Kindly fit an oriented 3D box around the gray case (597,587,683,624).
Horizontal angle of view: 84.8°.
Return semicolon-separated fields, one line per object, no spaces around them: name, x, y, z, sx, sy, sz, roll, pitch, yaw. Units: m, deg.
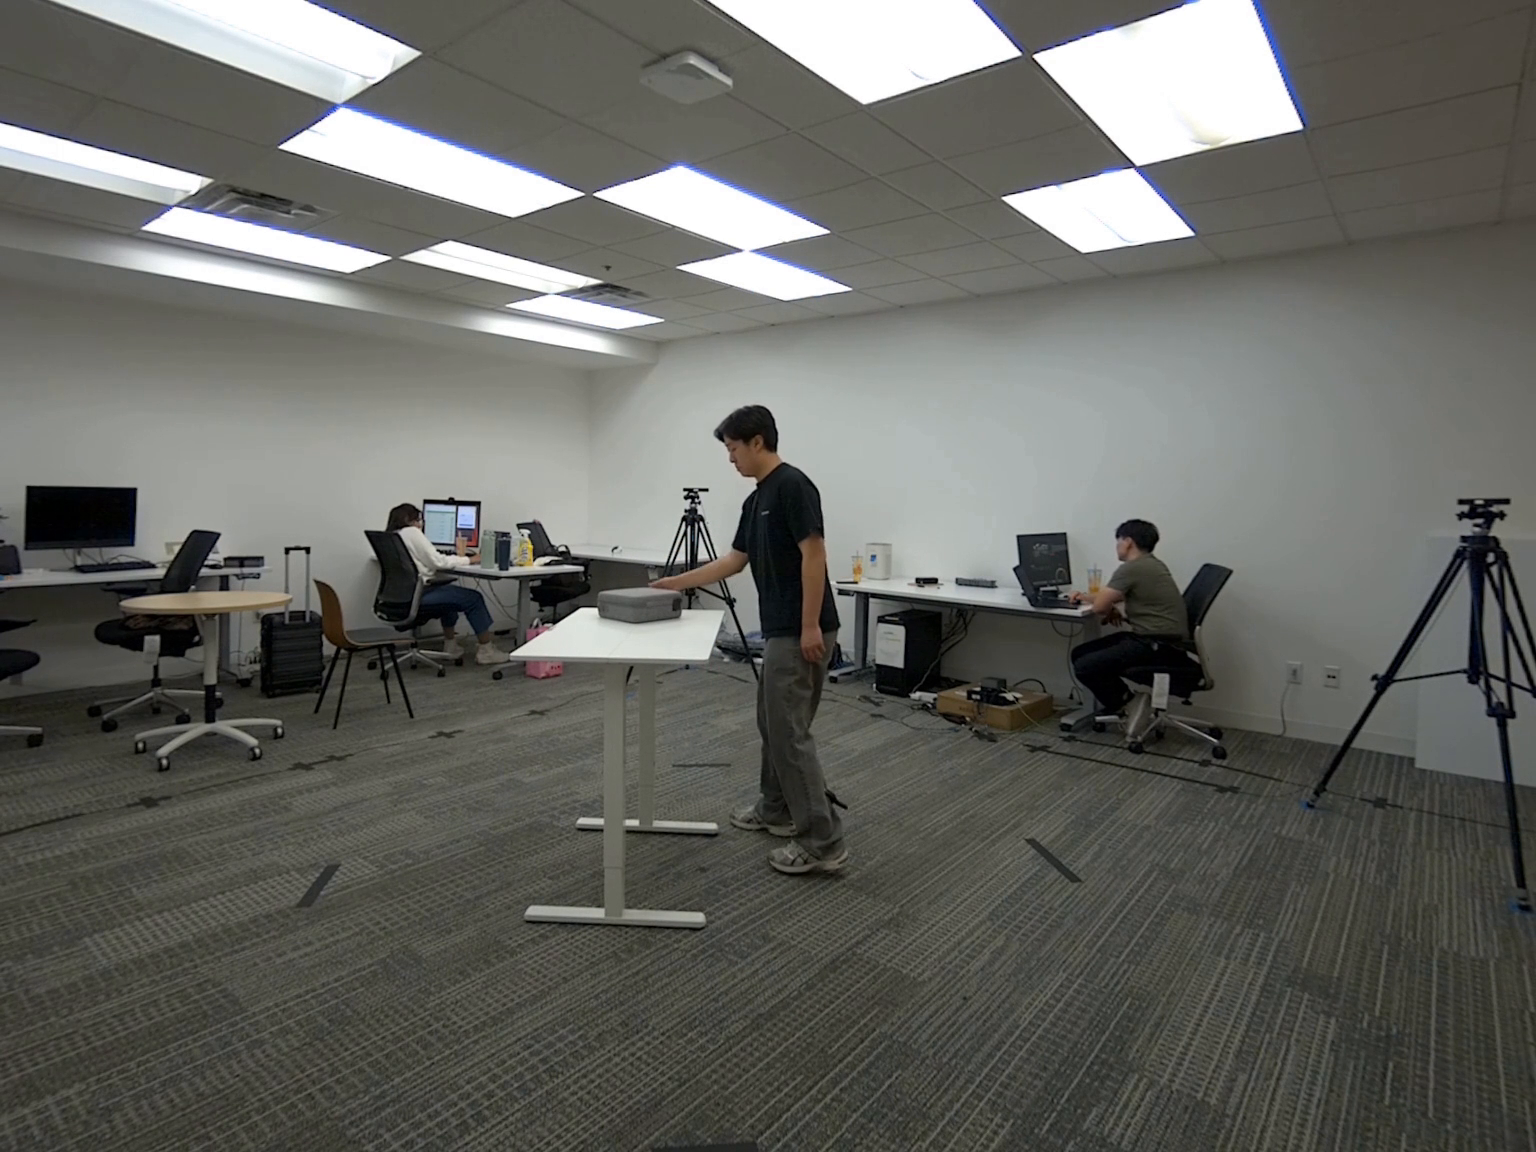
gray case;-0.522;0.106;3.325;0.255;0.102;0.297;-6;8;-44
